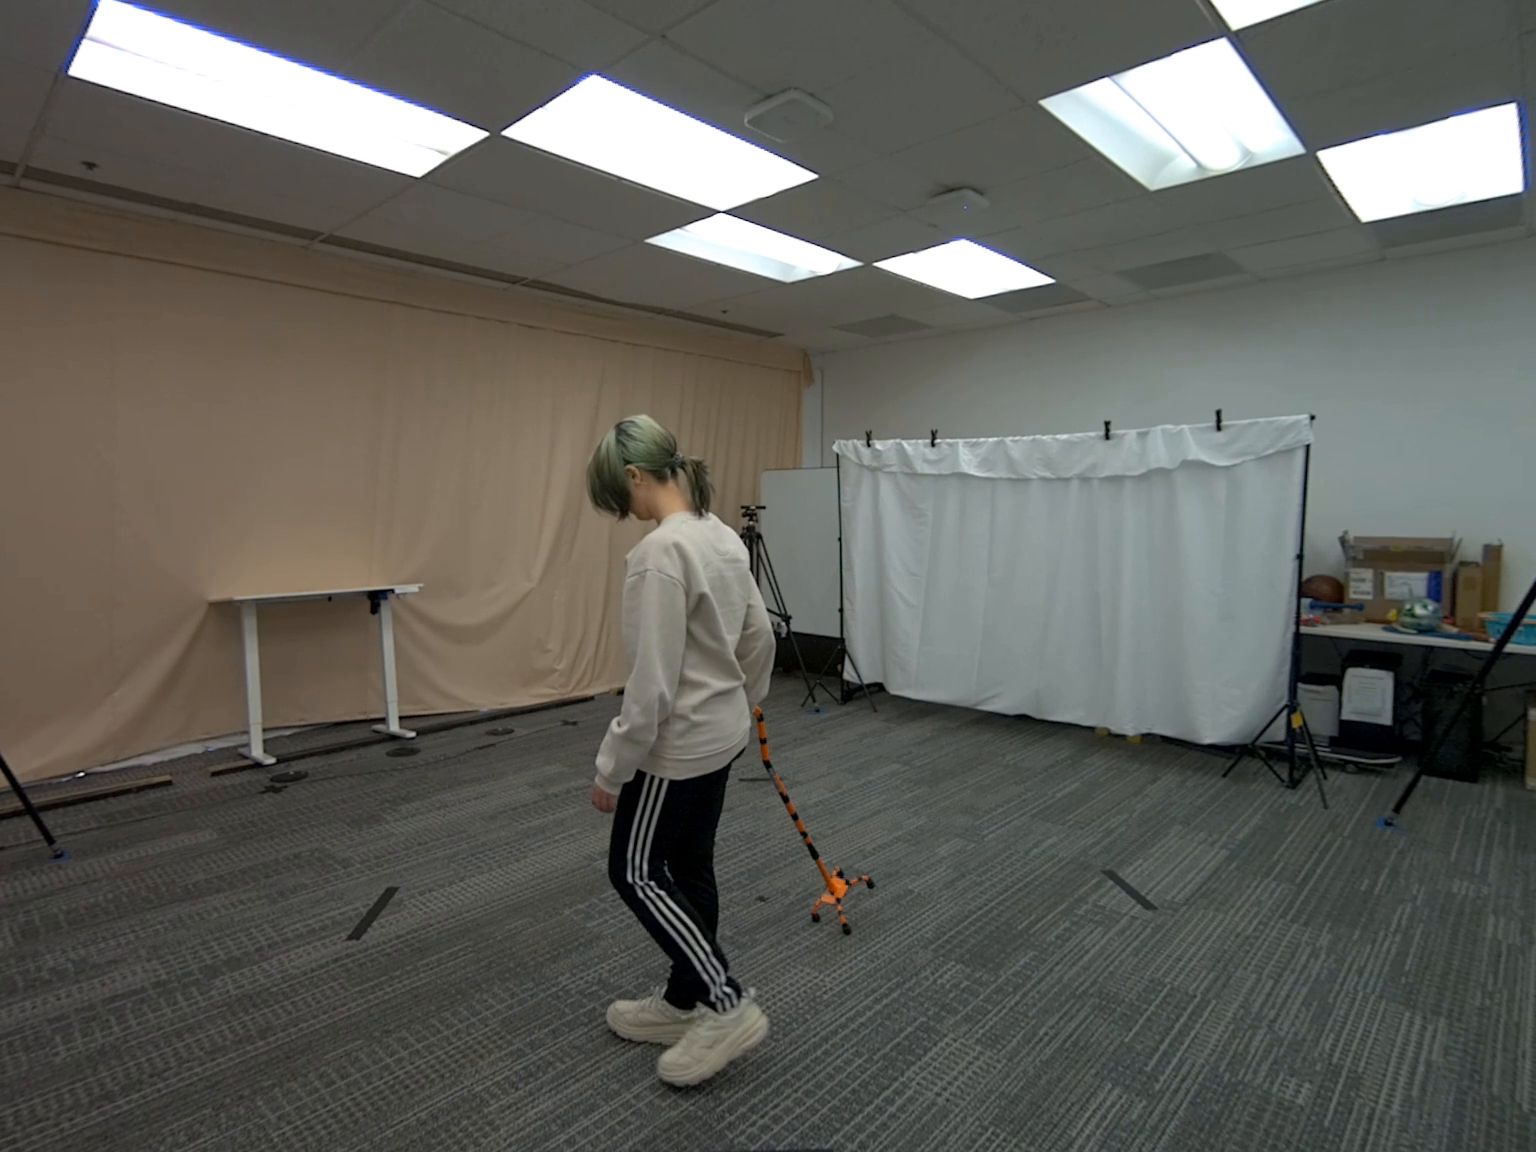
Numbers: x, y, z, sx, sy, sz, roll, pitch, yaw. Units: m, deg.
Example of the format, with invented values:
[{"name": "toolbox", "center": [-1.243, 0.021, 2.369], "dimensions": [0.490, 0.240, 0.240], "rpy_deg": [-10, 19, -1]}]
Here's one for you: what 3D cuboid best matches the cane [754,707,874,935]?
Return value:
[{"name": "cane", "center": [0.099, 0.747, 2.627], "dimensions": [0.157, 0.885, 0.205], "rpy_deg": [4, 39, 41]}]
